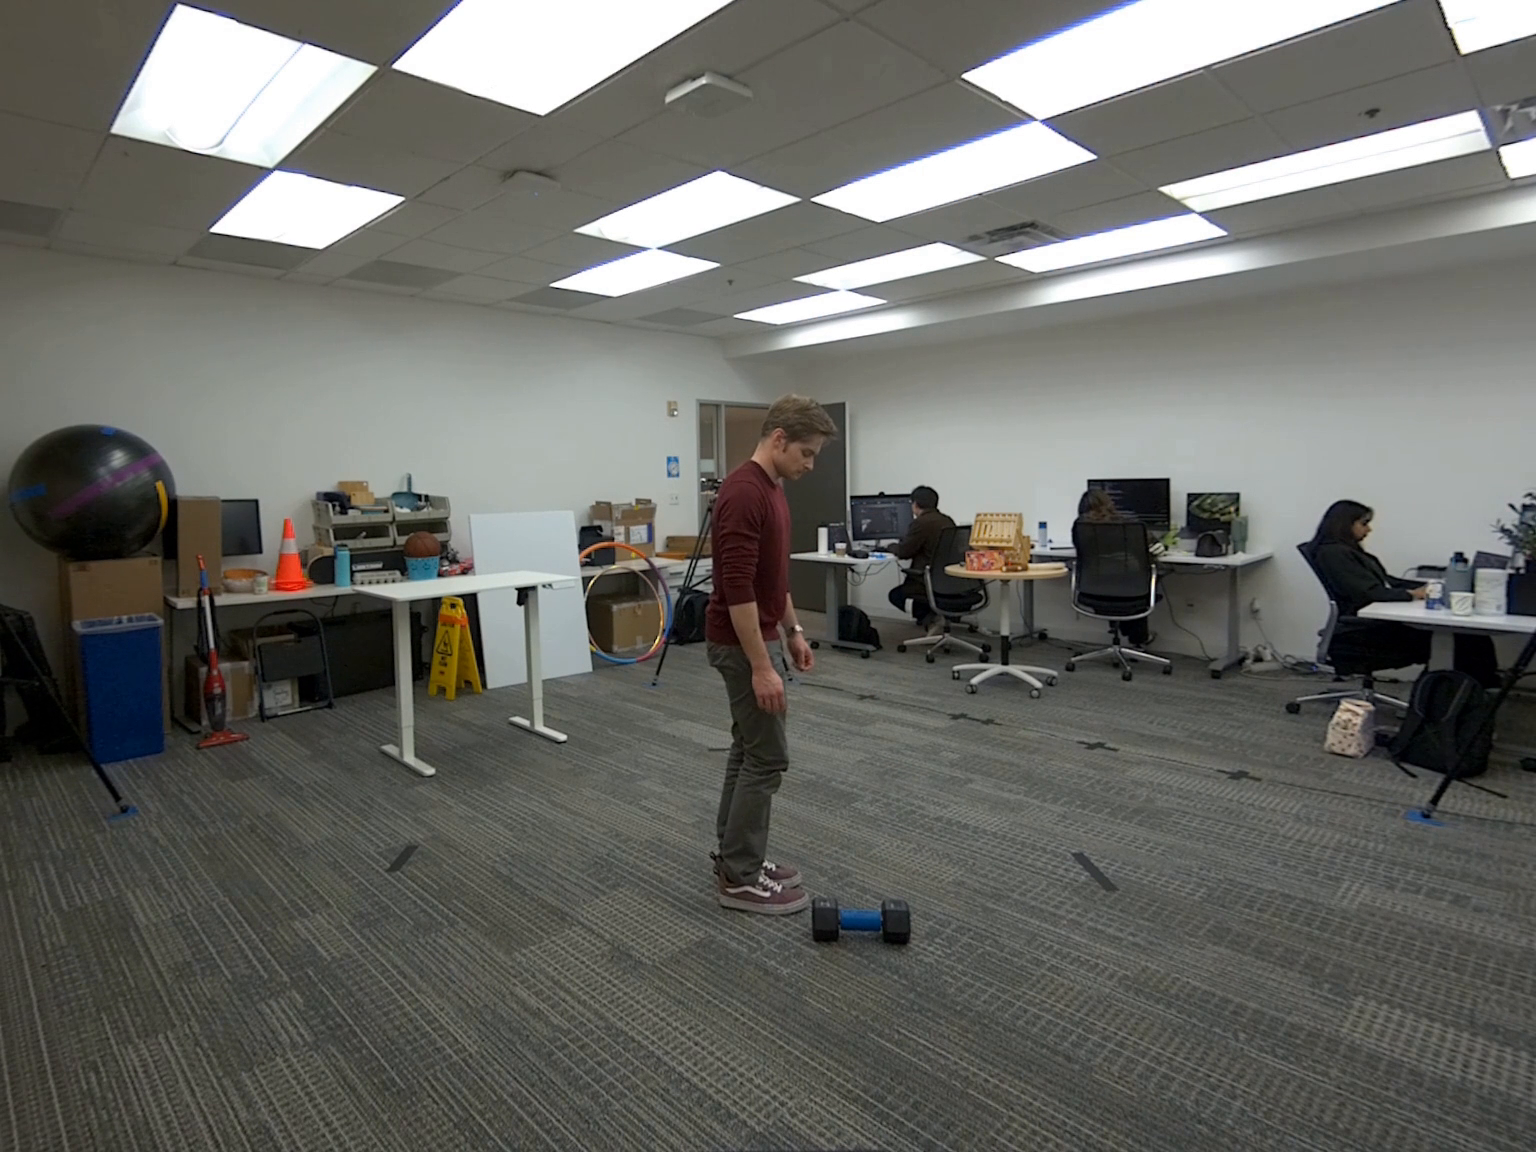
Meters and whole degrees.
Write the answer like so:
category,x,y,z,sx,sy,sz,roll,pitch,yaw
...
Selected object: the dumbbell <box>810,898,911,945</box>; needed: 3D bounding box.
category,x,y,z,sx,sy,sz,roll,pitch,yaw
dumbbell,0.288,1.047,2.589,0.295,0.125,0.106,-1,-26,5
